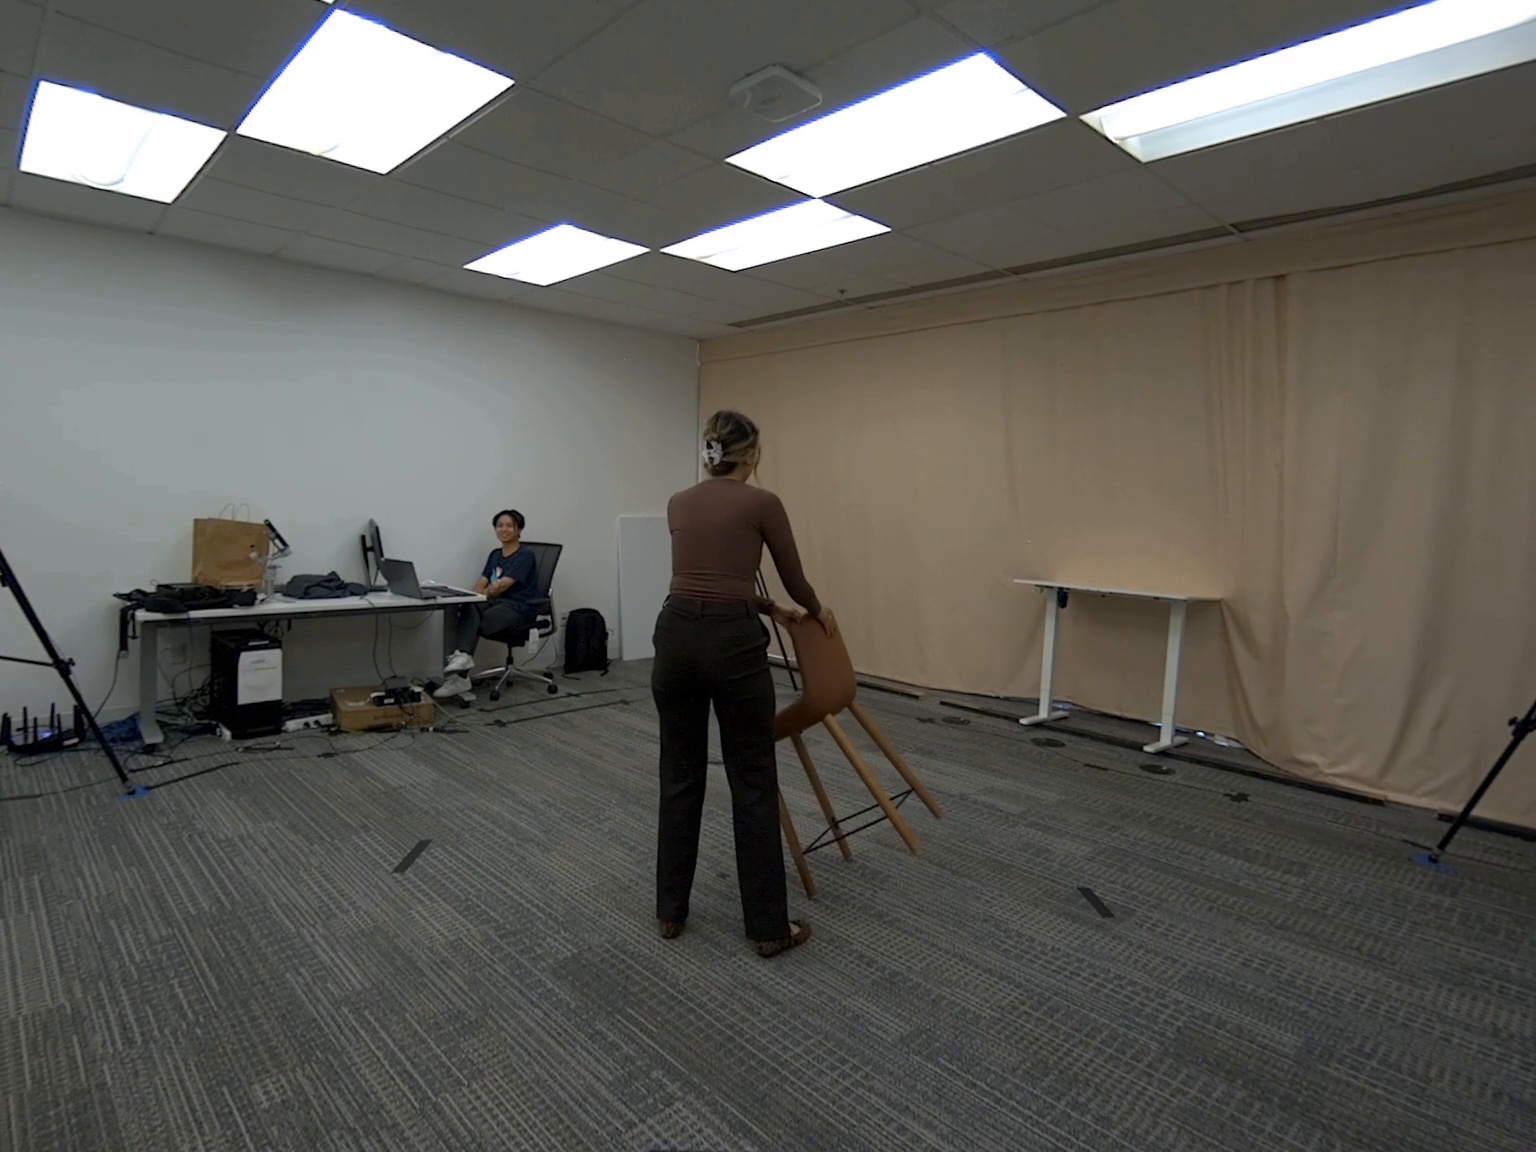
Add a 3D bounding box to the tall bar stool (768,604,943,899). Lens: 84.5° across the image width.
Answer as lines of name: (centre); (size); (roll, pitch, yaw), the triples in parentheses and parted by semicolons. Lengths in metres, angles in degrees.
tall bar stool: (0.198, 0.624, 3.109); (0.471, 0.899, 0.448); (-31, -11, 24)
